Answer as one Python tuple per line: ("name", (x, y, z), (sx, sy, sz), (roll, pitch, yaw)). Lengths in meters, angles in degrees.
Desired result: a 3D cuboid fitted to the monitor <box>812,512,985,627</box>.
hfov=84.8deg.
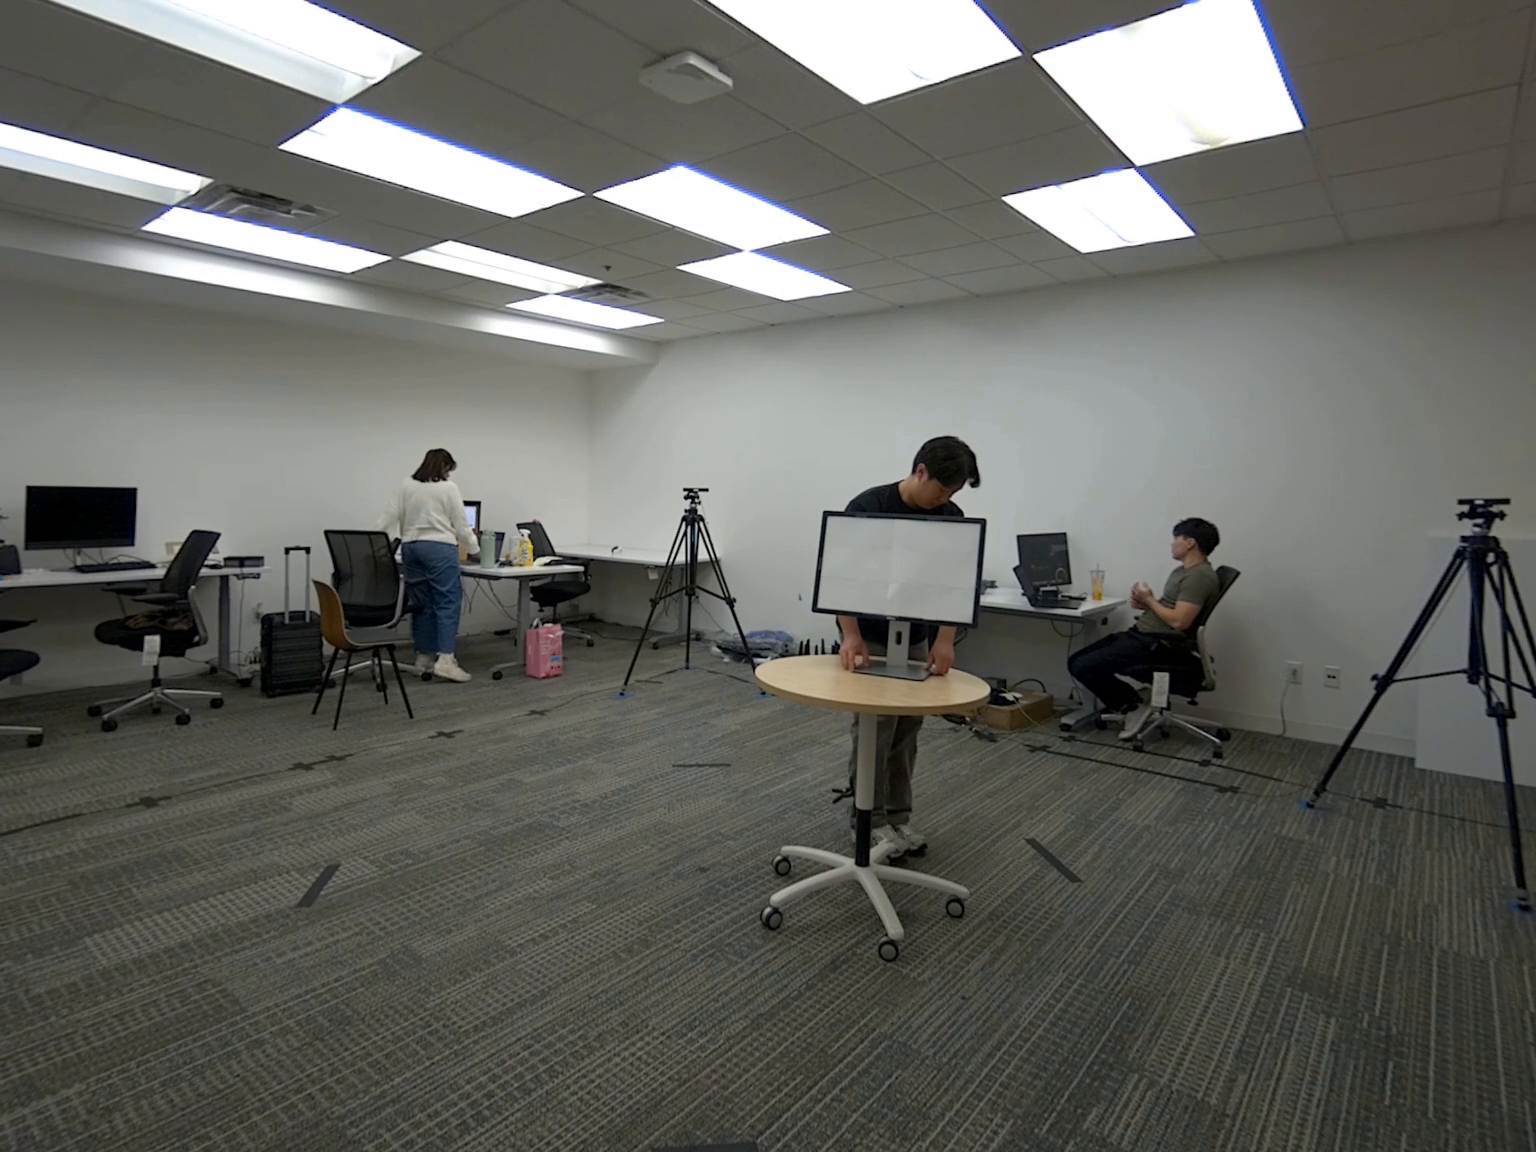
("monitor", (0.441, 0.065, 2.913), (0.577, 0.563, 0.217), (4, 6, 26))
